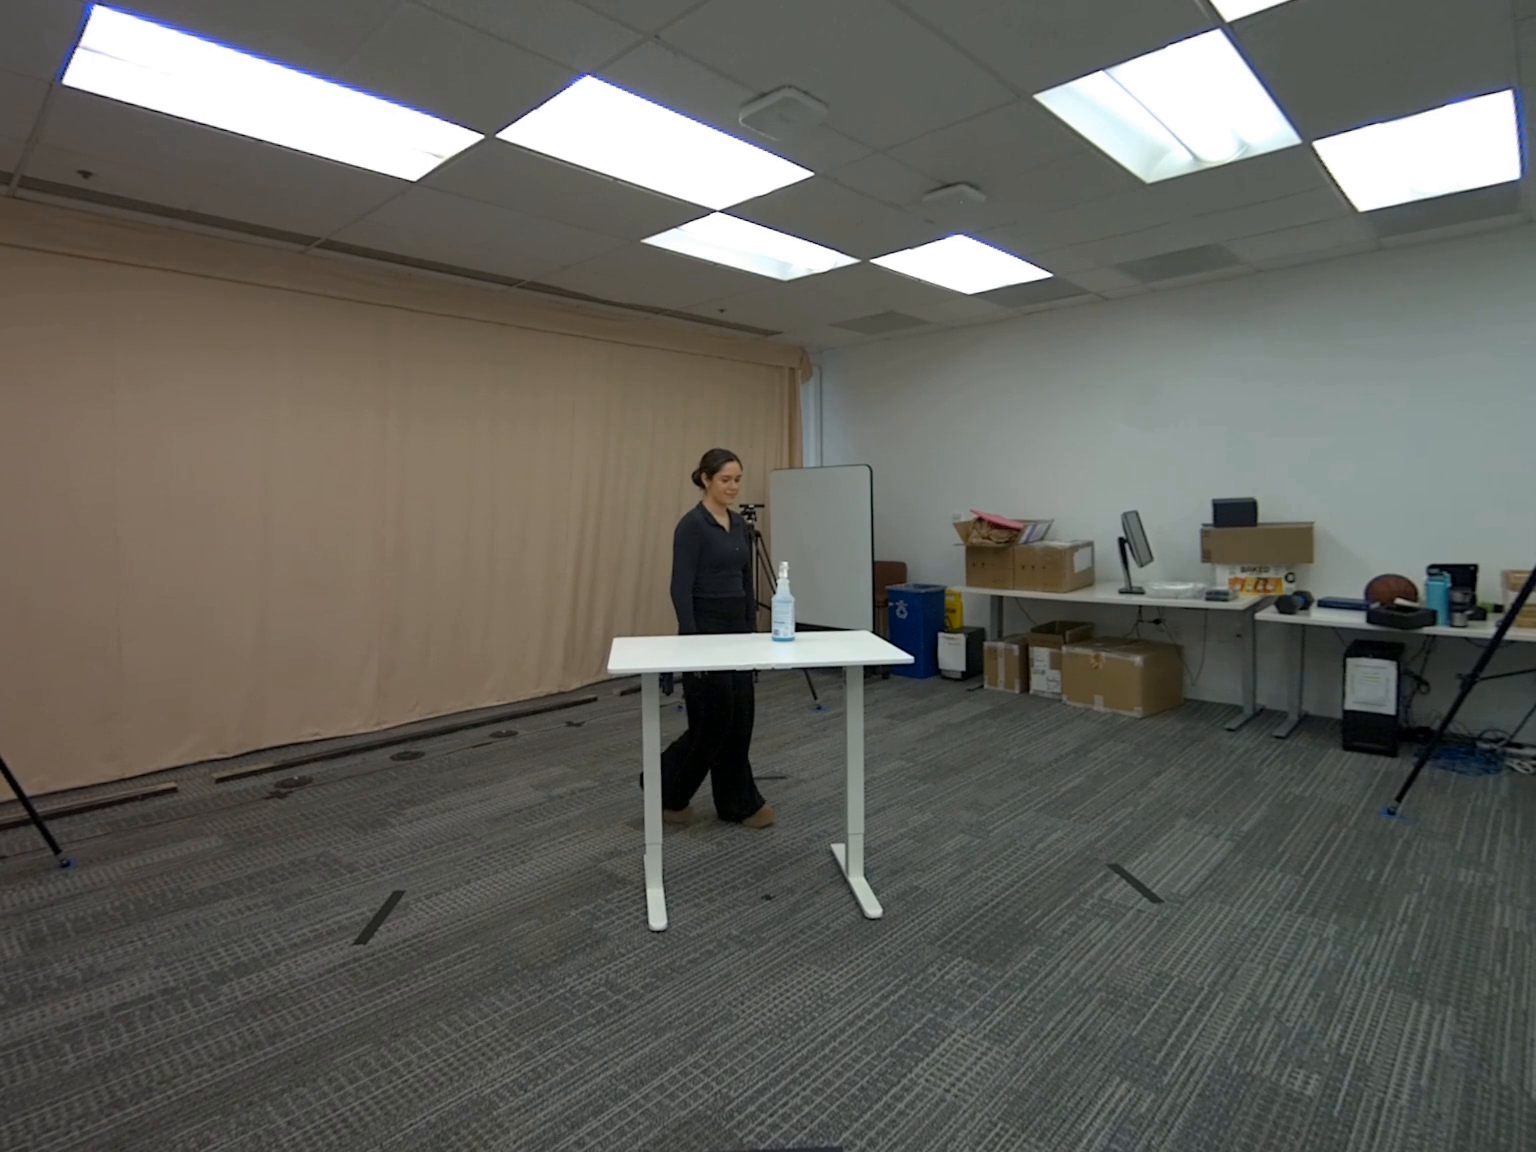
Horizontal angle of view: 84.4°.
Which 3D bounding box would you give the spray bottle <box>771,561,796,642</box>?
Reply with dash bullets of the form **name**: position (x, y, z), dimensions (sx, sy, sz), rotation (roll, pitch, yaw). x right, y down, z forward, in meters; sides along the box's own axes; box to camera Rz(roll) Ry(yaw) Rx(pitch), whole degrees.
- **spray bottle**: position (0.061, 0.097, 3.149), dimensions (0.088, 0.296, 0.089), rotation (2, 6, 16)
